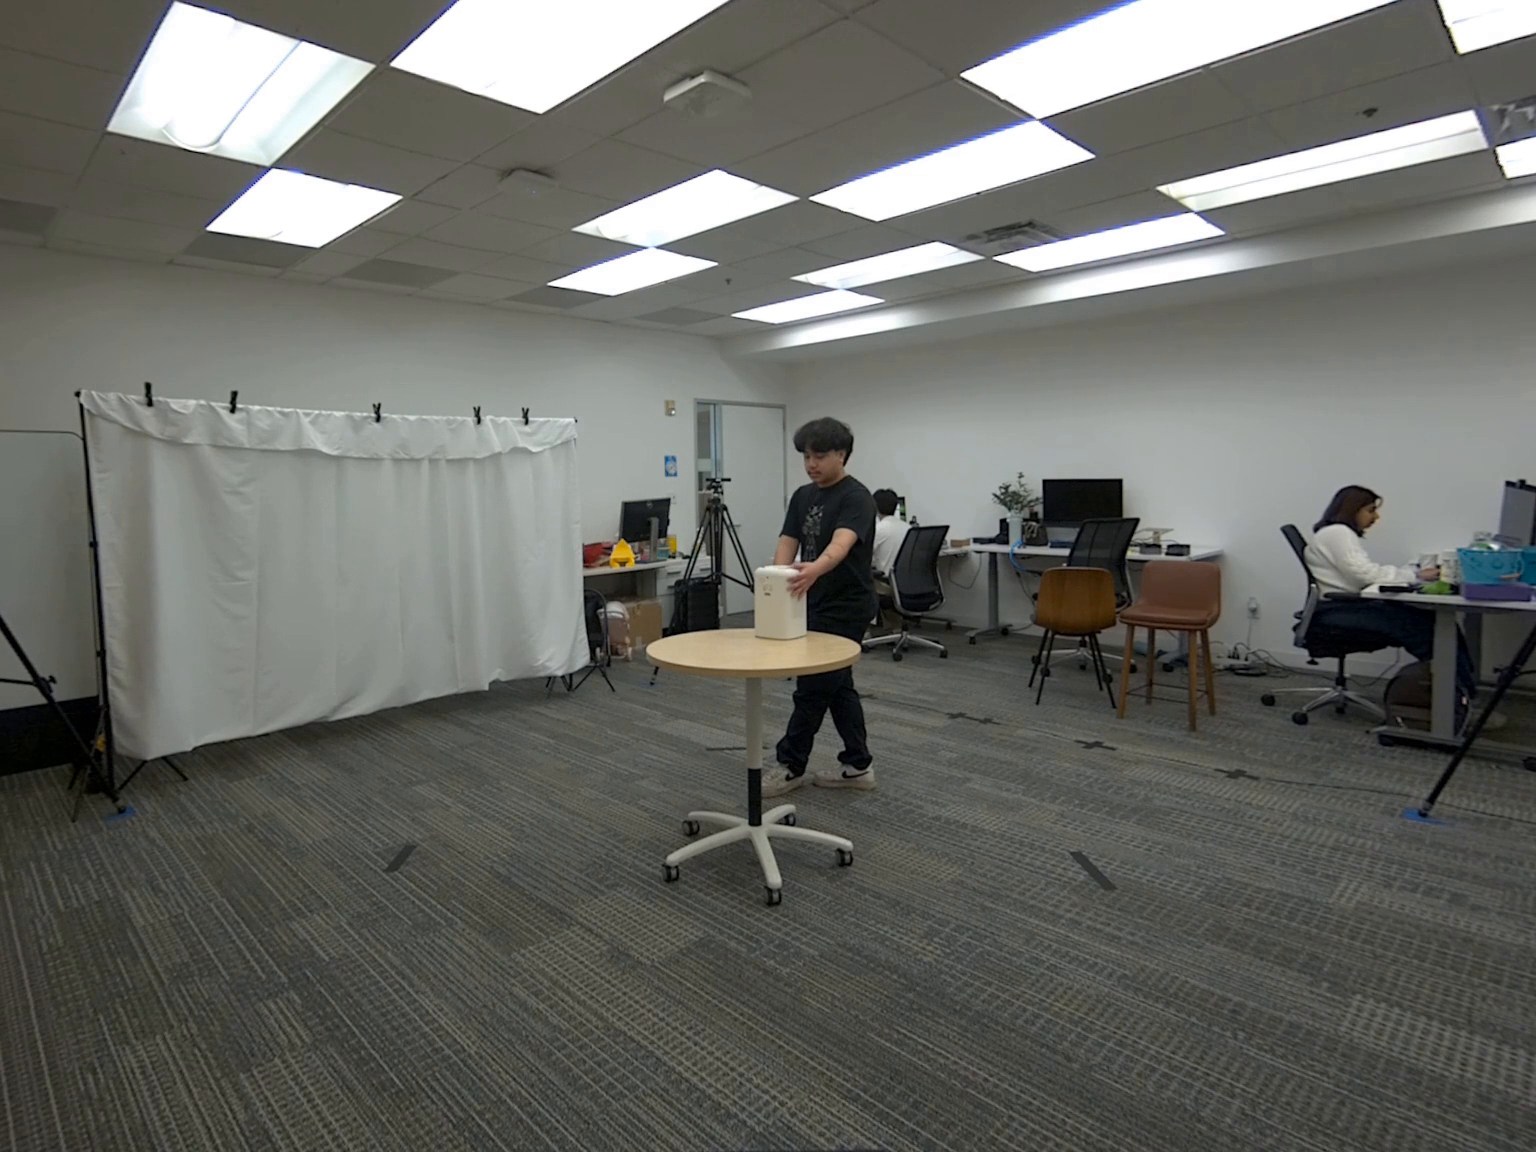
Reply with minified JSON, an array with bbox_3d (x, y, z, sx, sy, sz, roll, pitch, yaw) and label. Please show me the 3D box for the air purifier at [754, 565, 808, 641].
[{"bbox_3d":[0.049,0.098,3.272,0.176,0.264,0.167,3,5,37],"label":"air purifier"}]
